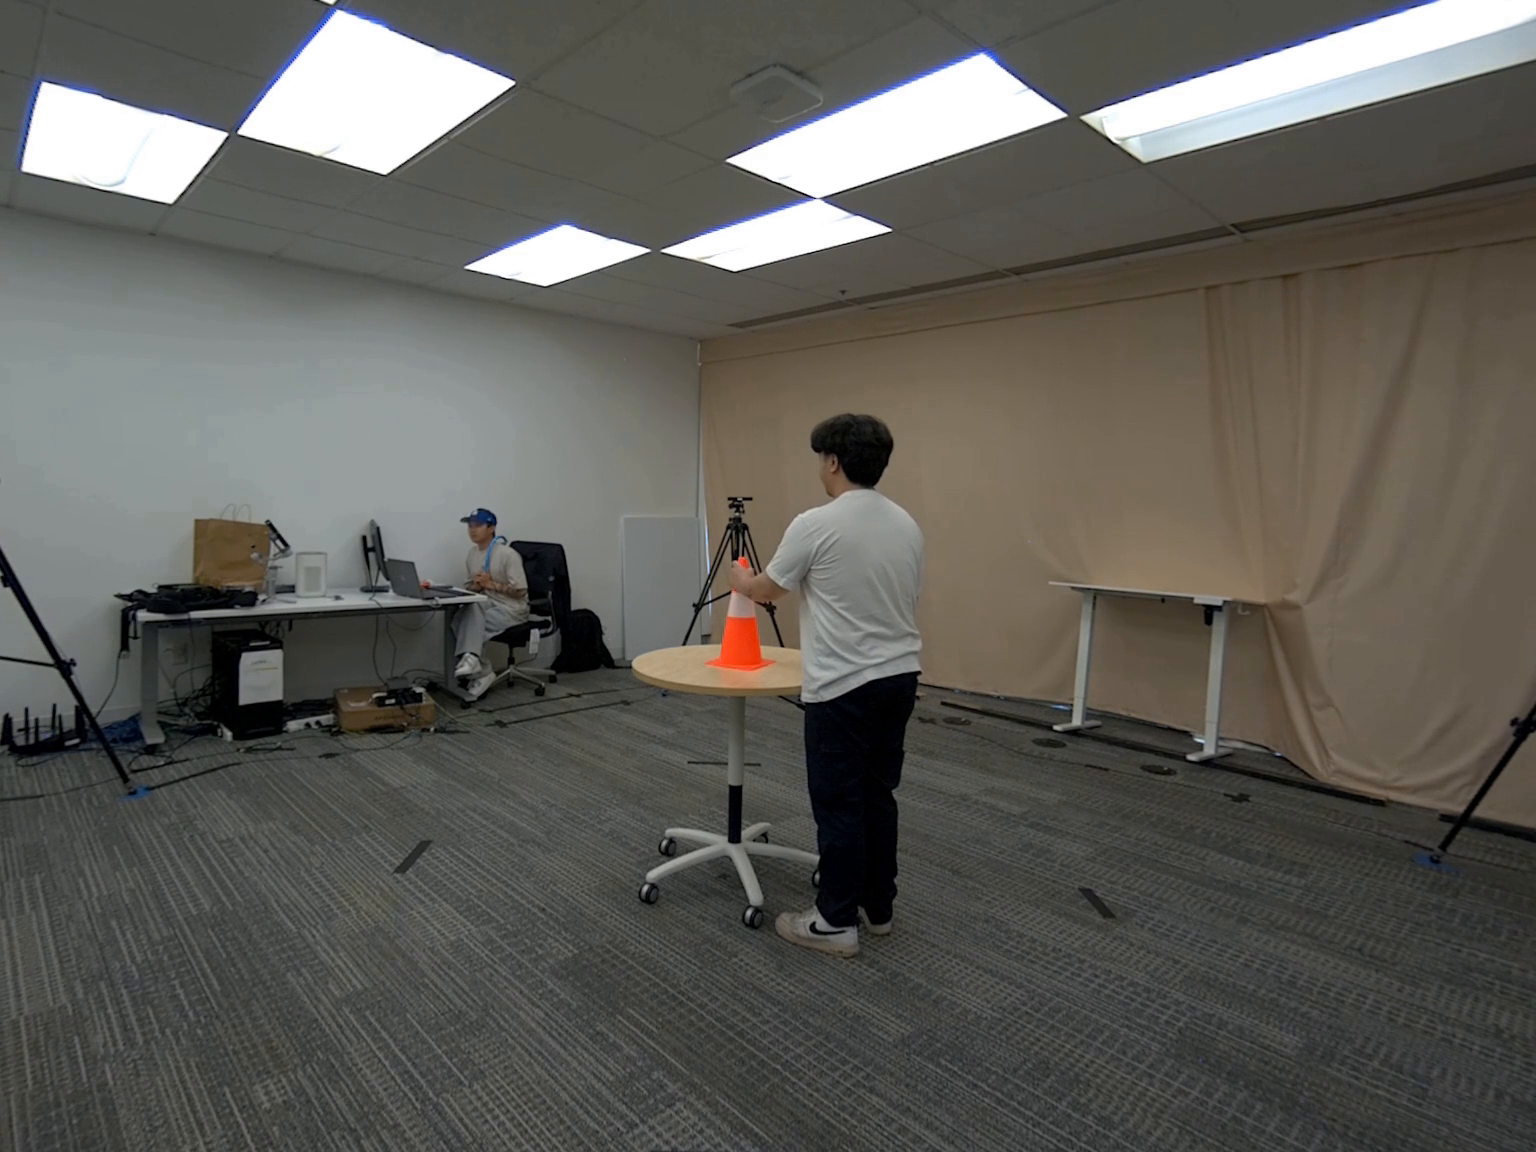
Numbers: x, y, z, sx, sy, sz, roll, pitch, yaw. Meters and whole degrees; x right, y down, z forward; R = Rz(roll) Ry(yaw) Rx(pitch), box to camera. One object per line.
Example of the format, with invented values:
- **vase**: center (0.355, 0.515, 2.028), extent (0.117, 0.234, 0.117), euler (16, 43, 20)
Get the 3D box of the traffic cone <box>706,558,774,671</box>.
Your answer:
- **traffic cone**: center (-0.093, 0.123, 3.044), extent (0.208, 0.383, 0.201), euler (4, 2, 29)
